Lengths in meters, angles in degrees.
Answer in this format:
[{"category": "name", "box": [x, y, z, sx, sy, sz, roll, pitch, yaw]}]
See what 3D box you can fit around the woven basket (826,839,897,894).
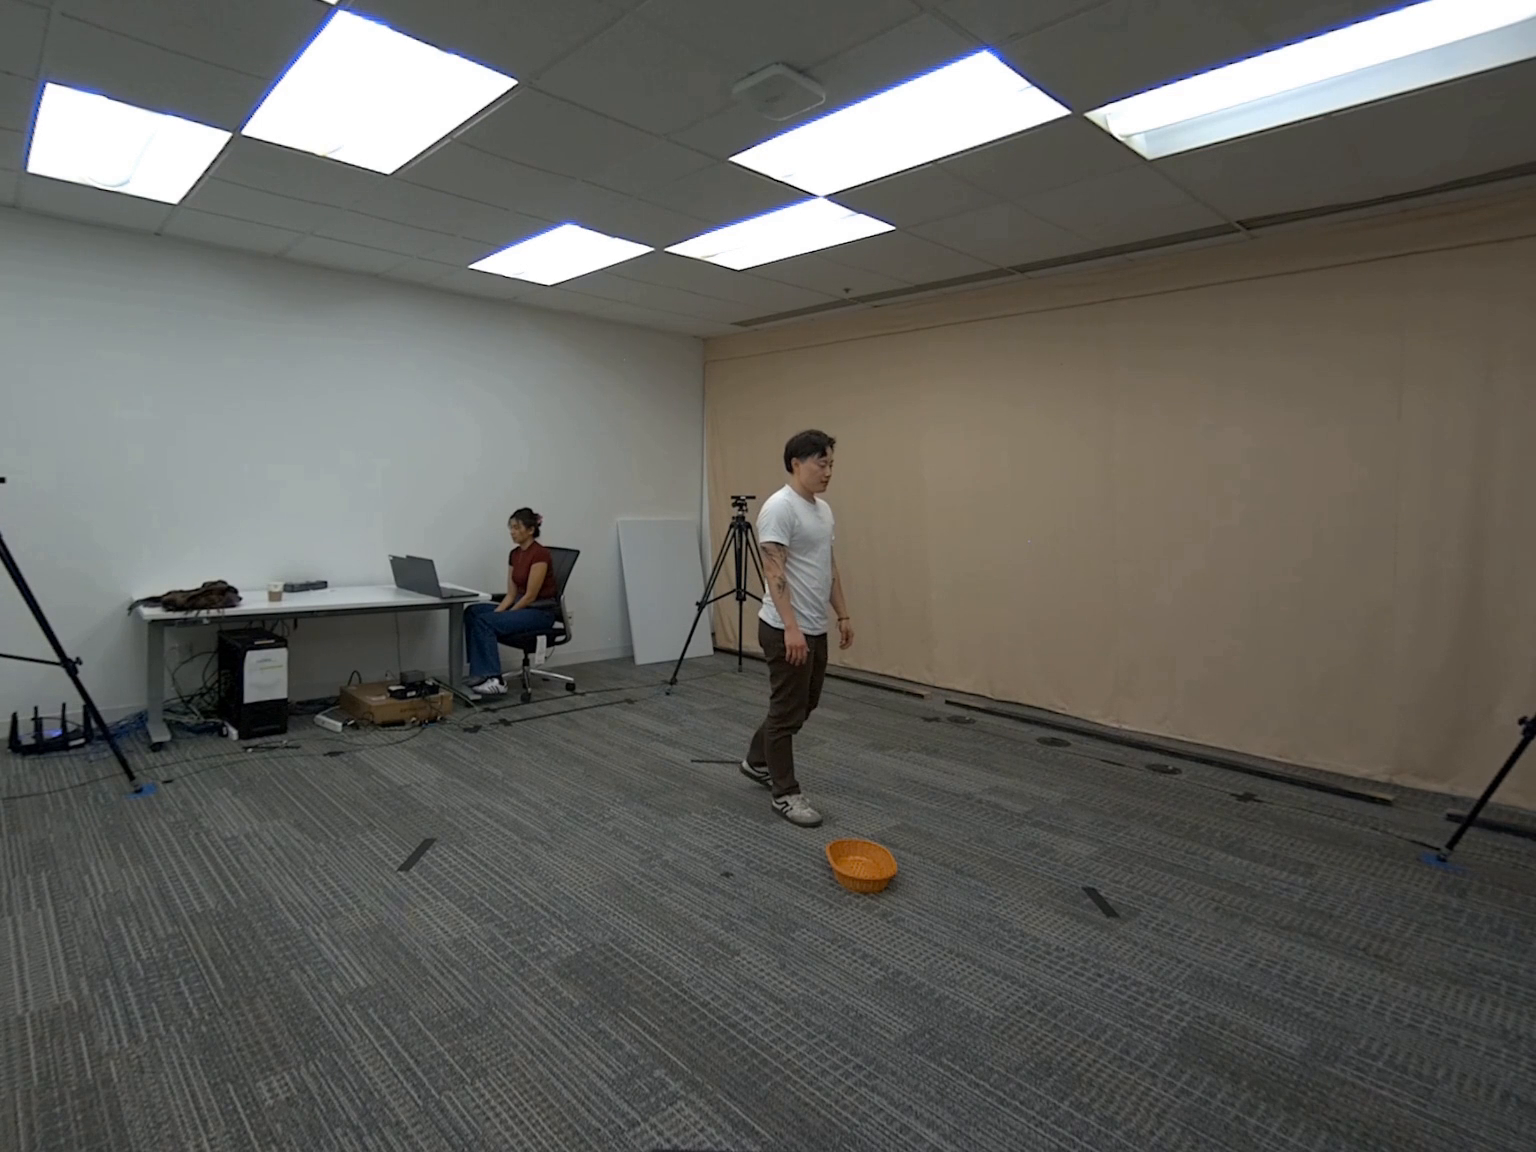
[{"category": "woven basket", "box": [0.335, 1.070, 3.119, 0.252, 0.073, 0.352, 2, 5, -3]}]
